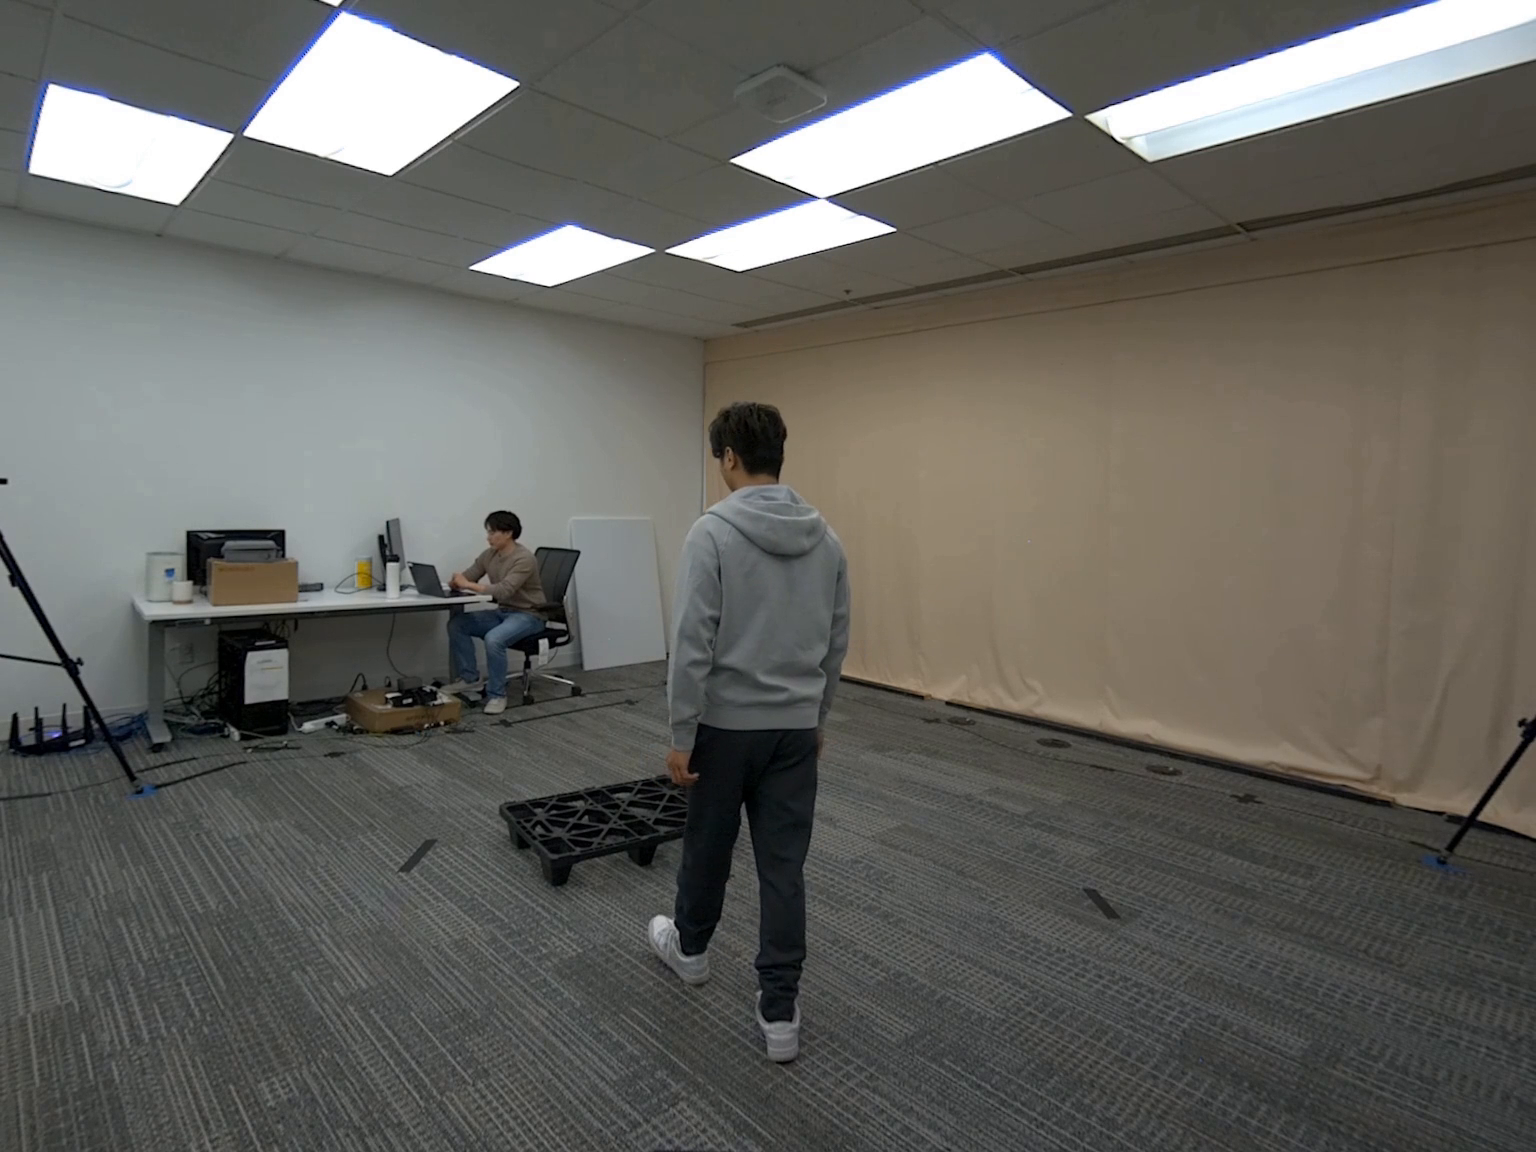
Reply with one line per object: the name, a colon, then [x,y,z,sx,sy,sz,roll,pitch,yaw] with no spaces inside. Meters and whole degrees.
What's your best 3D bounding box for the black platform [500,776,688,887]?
black platform: [-0.601,1.009,3.374,0.788,0.143,0.620,-2,7,-34]
